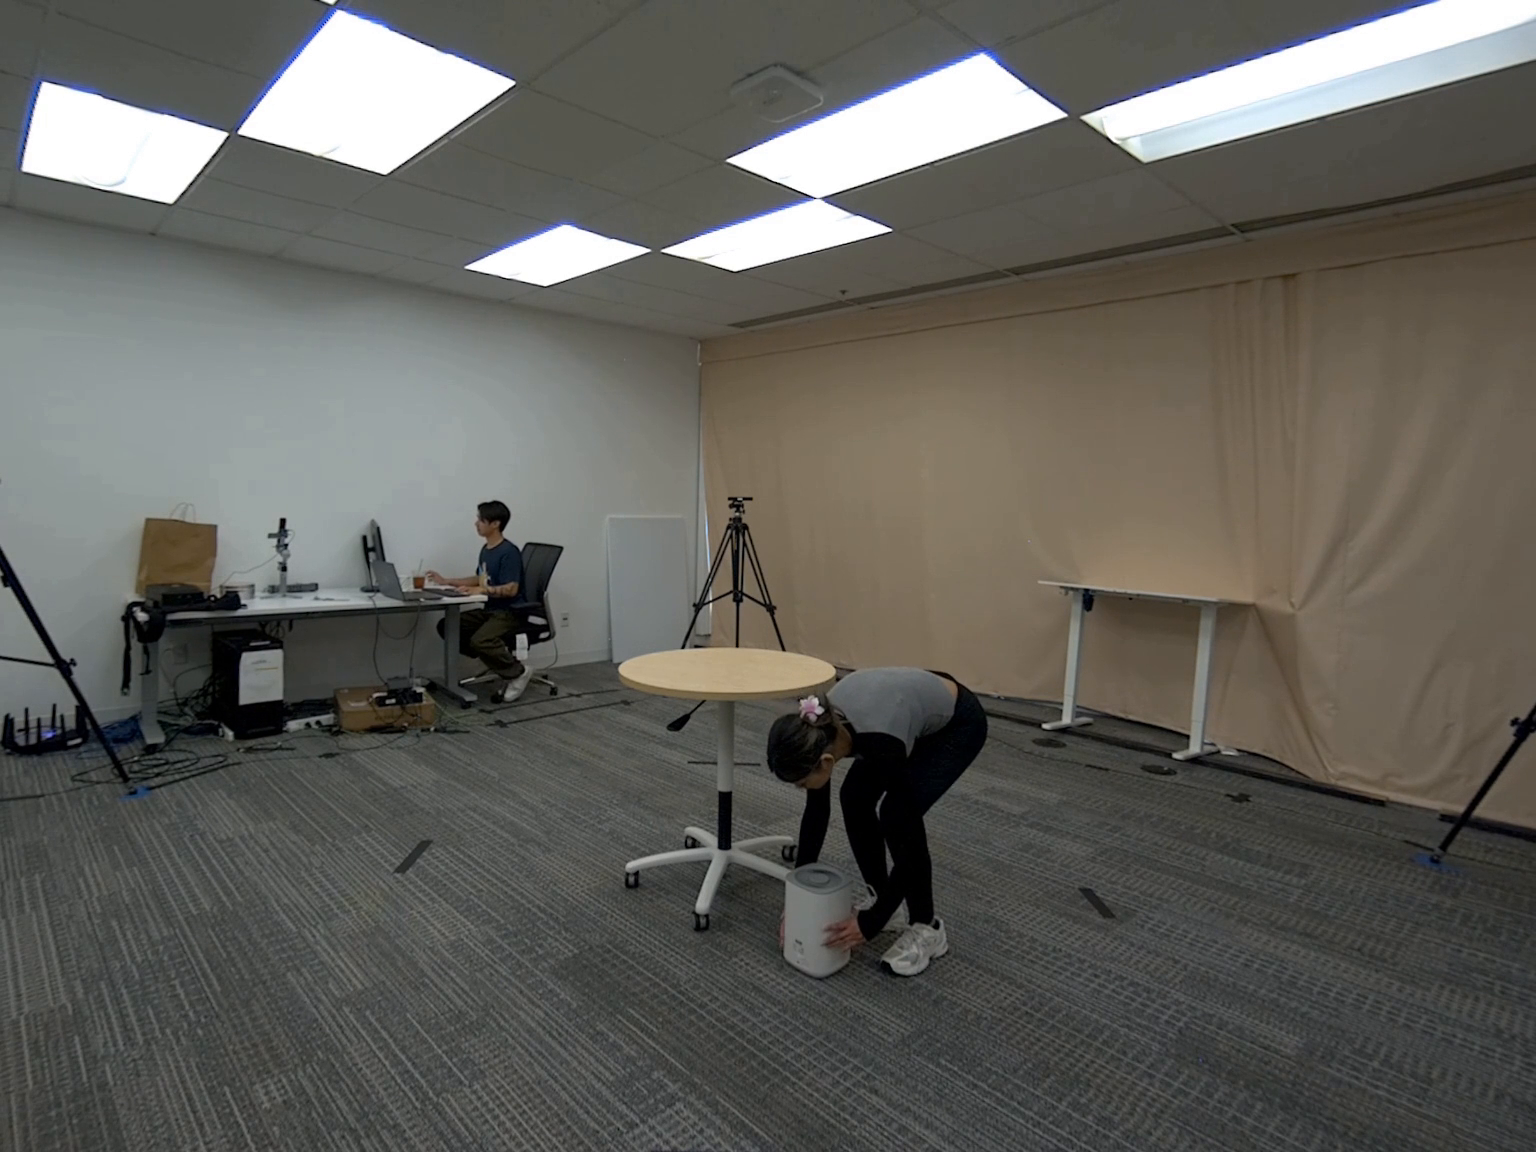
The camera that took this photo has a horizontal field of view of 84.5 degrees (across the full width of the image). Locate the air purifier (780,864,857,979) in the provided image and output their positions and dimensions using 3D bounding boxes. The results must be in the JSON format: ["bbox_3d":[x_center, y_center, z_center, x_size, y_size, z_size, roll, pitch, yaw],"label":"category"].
[{"bbox_3d":[0.145,1.037,2.521,0.175,0.264,0.168,6,6,43],"label":"air purifier"}]
